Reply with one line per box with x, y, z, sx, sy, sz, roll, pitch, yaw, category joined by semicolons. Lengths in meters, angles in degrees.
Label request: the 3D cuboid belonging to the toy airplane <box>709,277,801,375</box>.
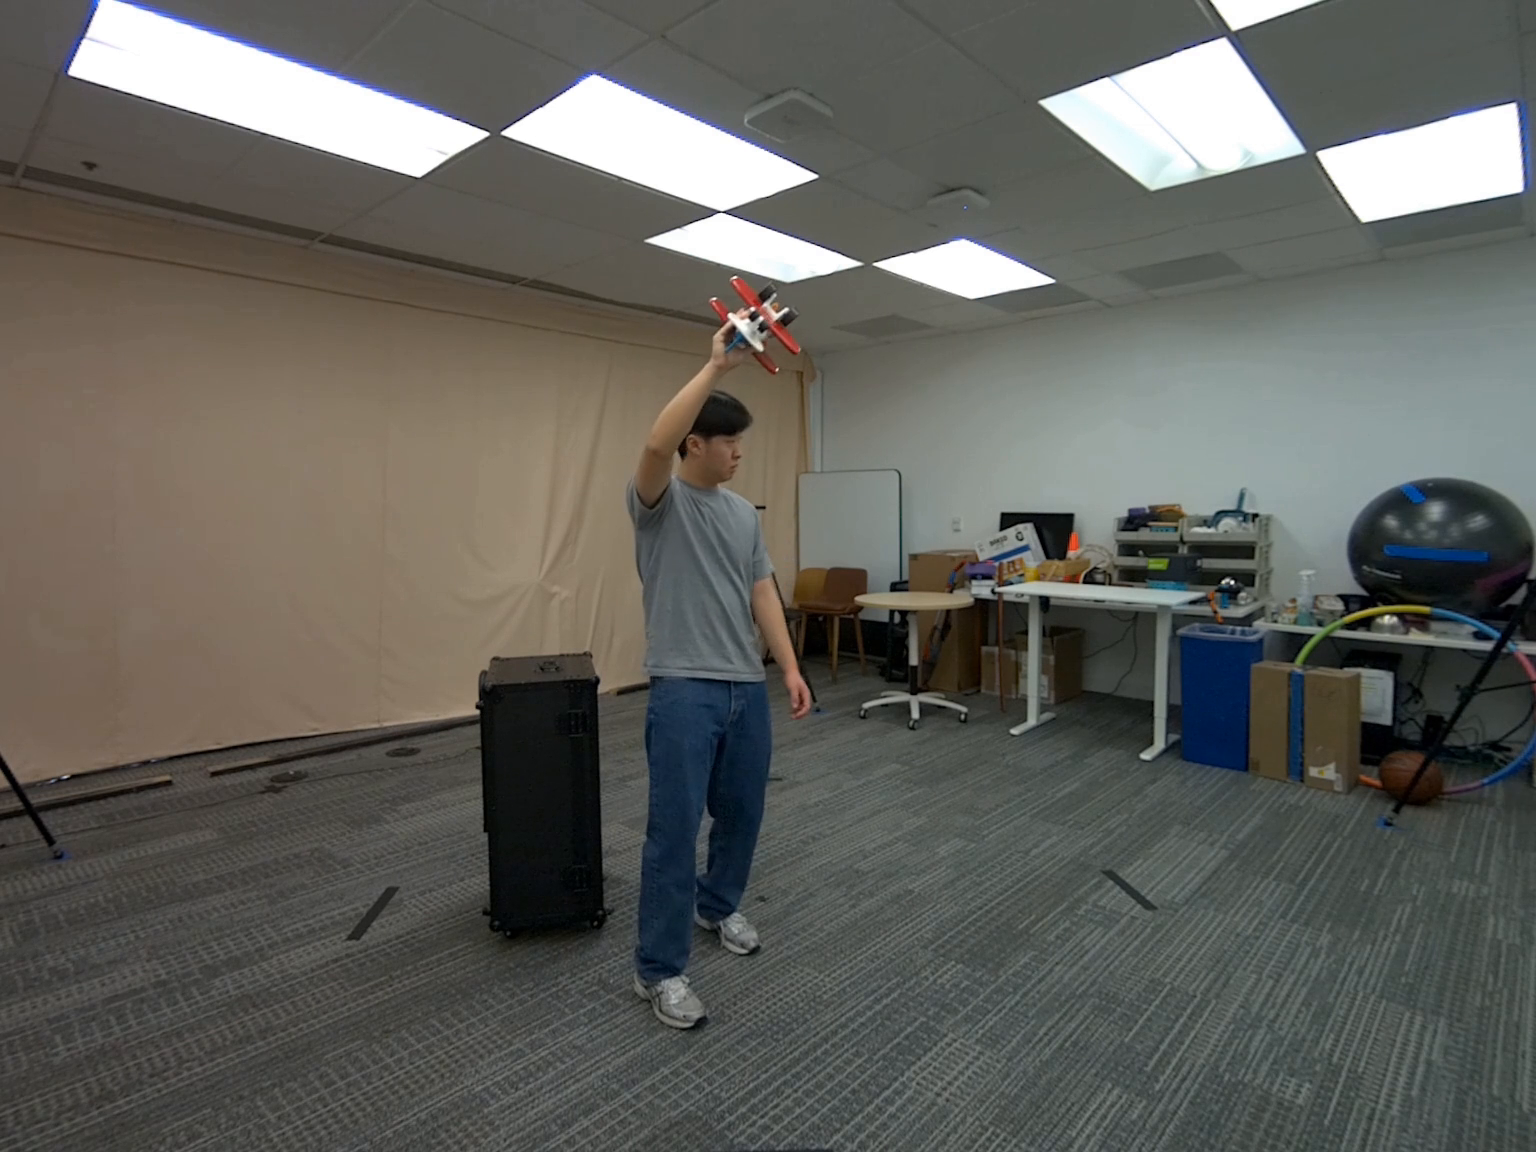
-0.034;-0.658;2.149;0.158;0.255;0.252;-36;-16;37;toy airplane
